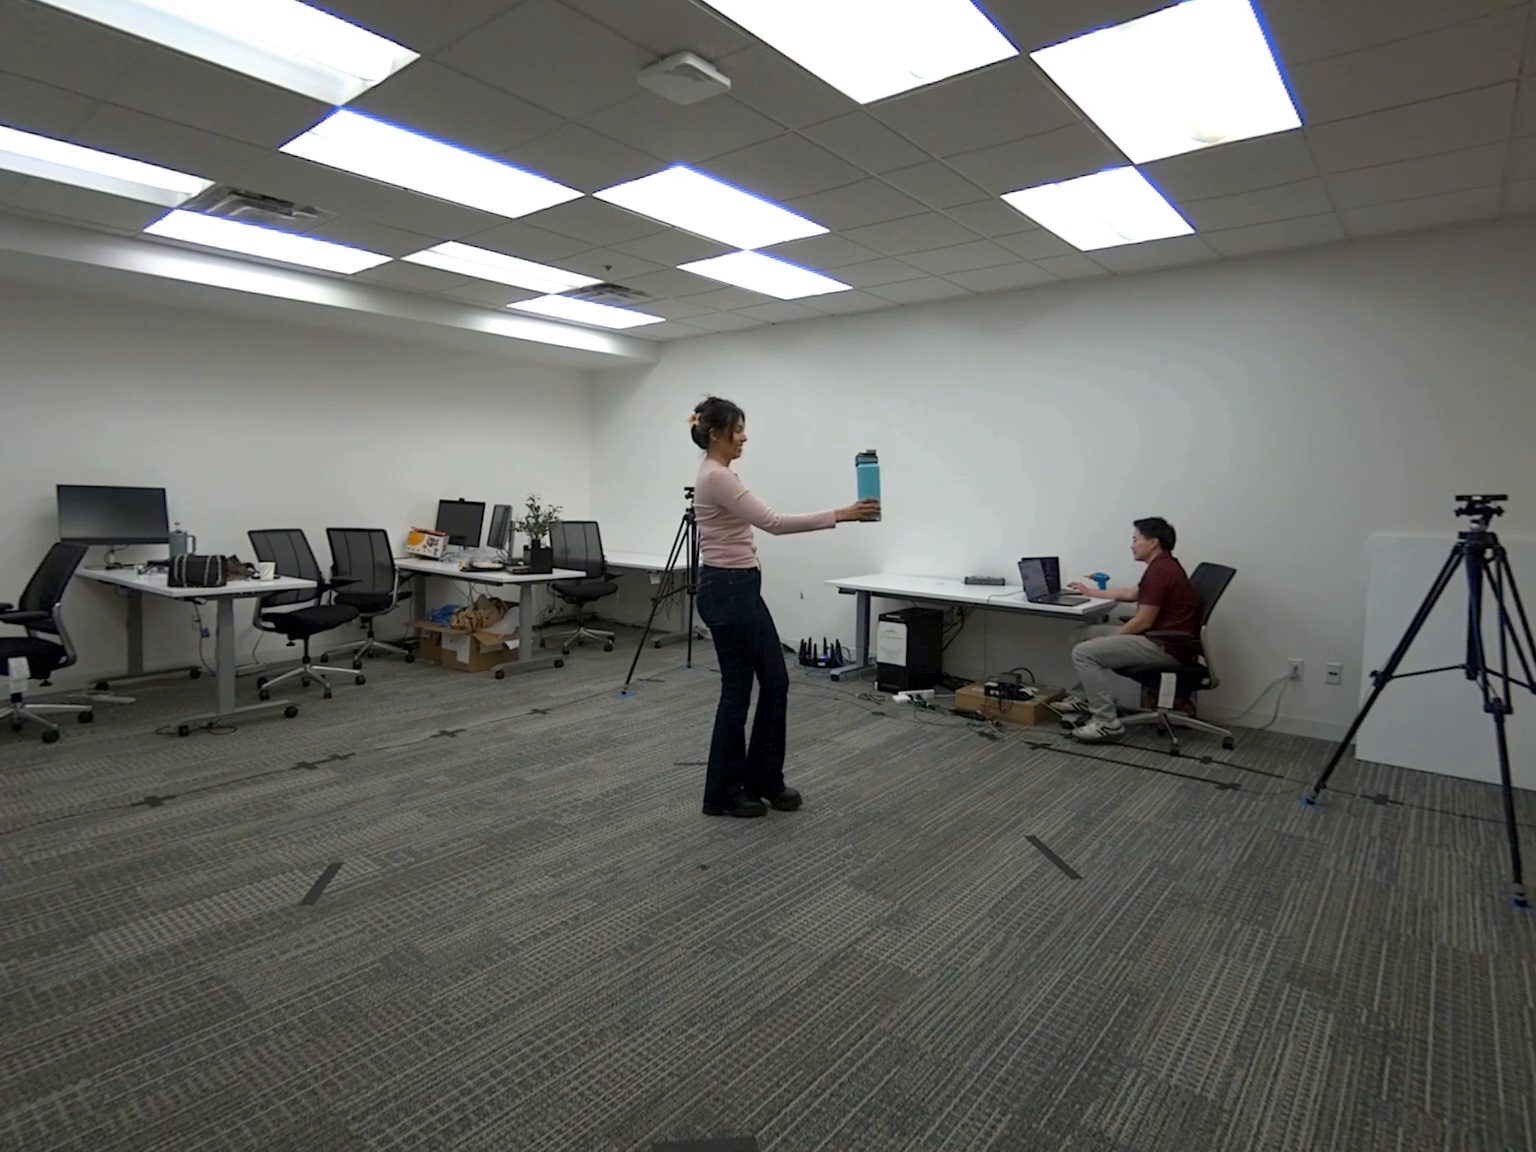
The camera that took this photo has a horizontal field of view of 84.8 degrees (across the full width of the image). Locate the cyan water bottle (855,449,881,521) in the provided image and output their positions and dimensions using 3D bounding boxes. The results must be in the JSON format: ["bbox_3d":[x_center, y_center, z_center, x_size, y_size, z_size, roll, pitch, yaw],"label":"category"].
[{"bbox_3d":[0.388,-0.362,3.338,0.092,0.283,0.092,-2,2,-2],"label":"cyan water bottle"}]
